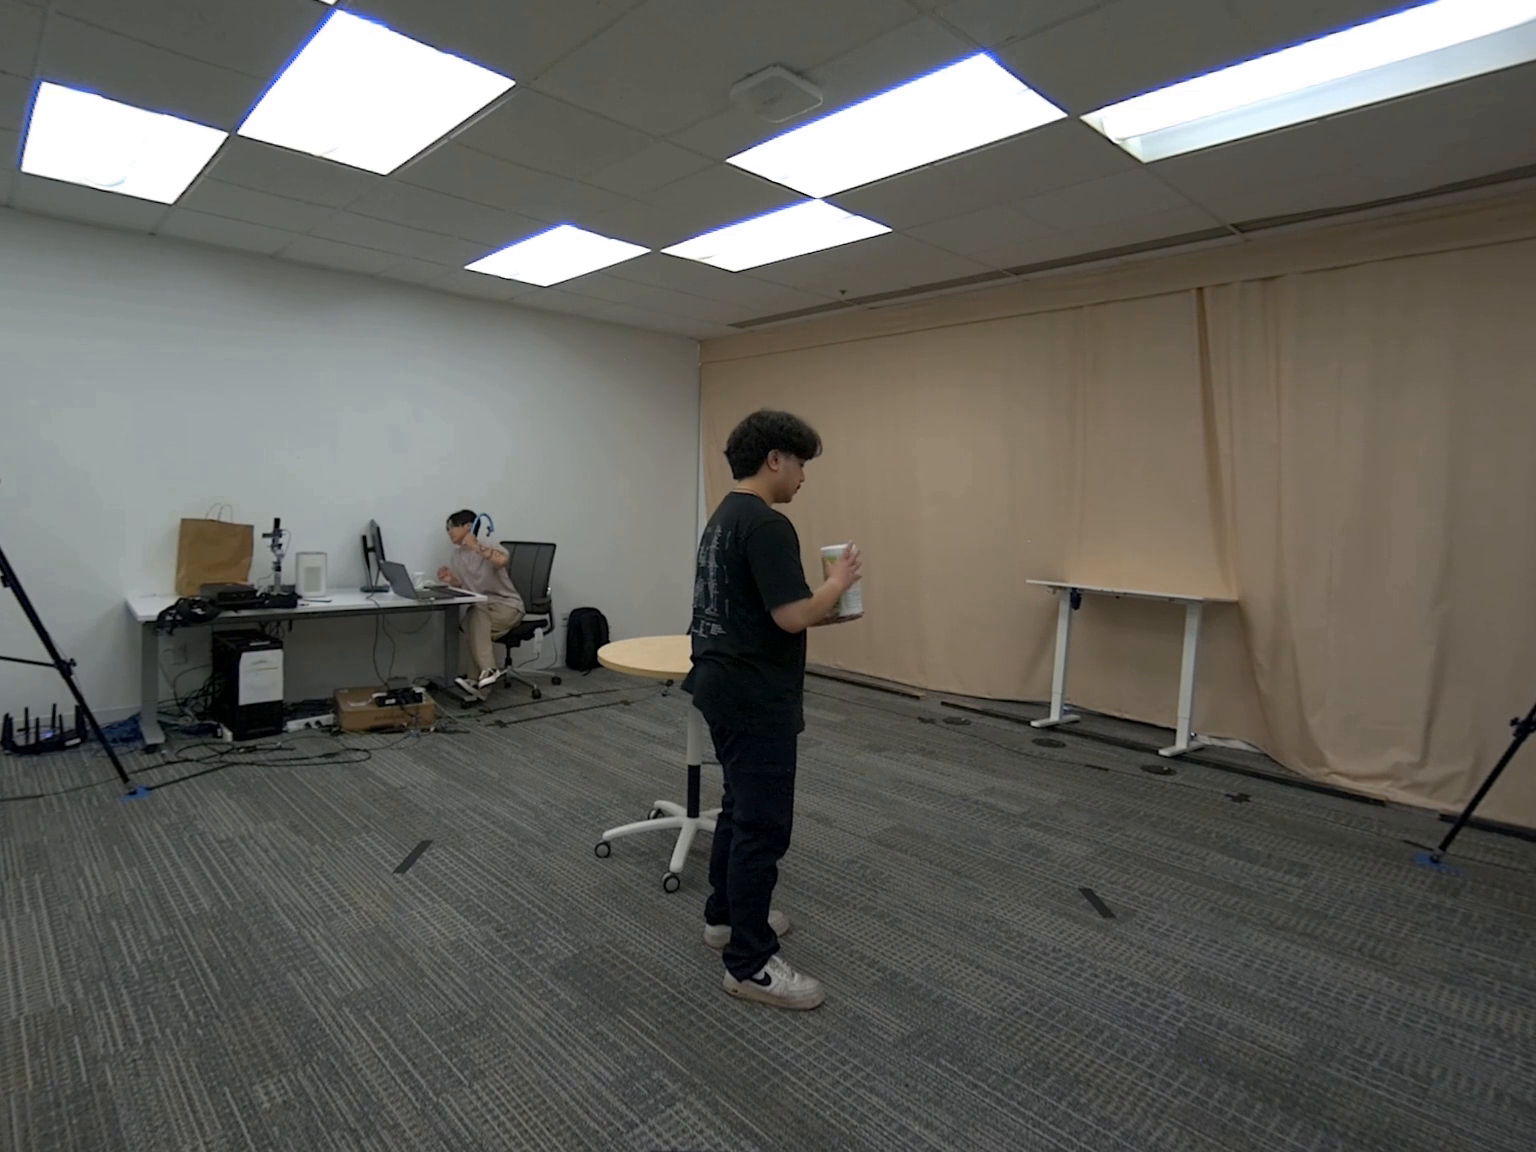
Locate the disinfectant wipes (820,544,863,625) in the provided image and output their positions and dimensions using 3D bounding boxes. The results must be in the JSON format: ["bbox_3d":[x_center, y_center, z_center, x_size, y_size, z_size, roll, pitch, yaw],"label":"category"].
[{"bbox_3d":[0.228,0.013,2.613,0.118,0.217,0.118,-6,1,-1],"label":"disinfectant wipes"}]
